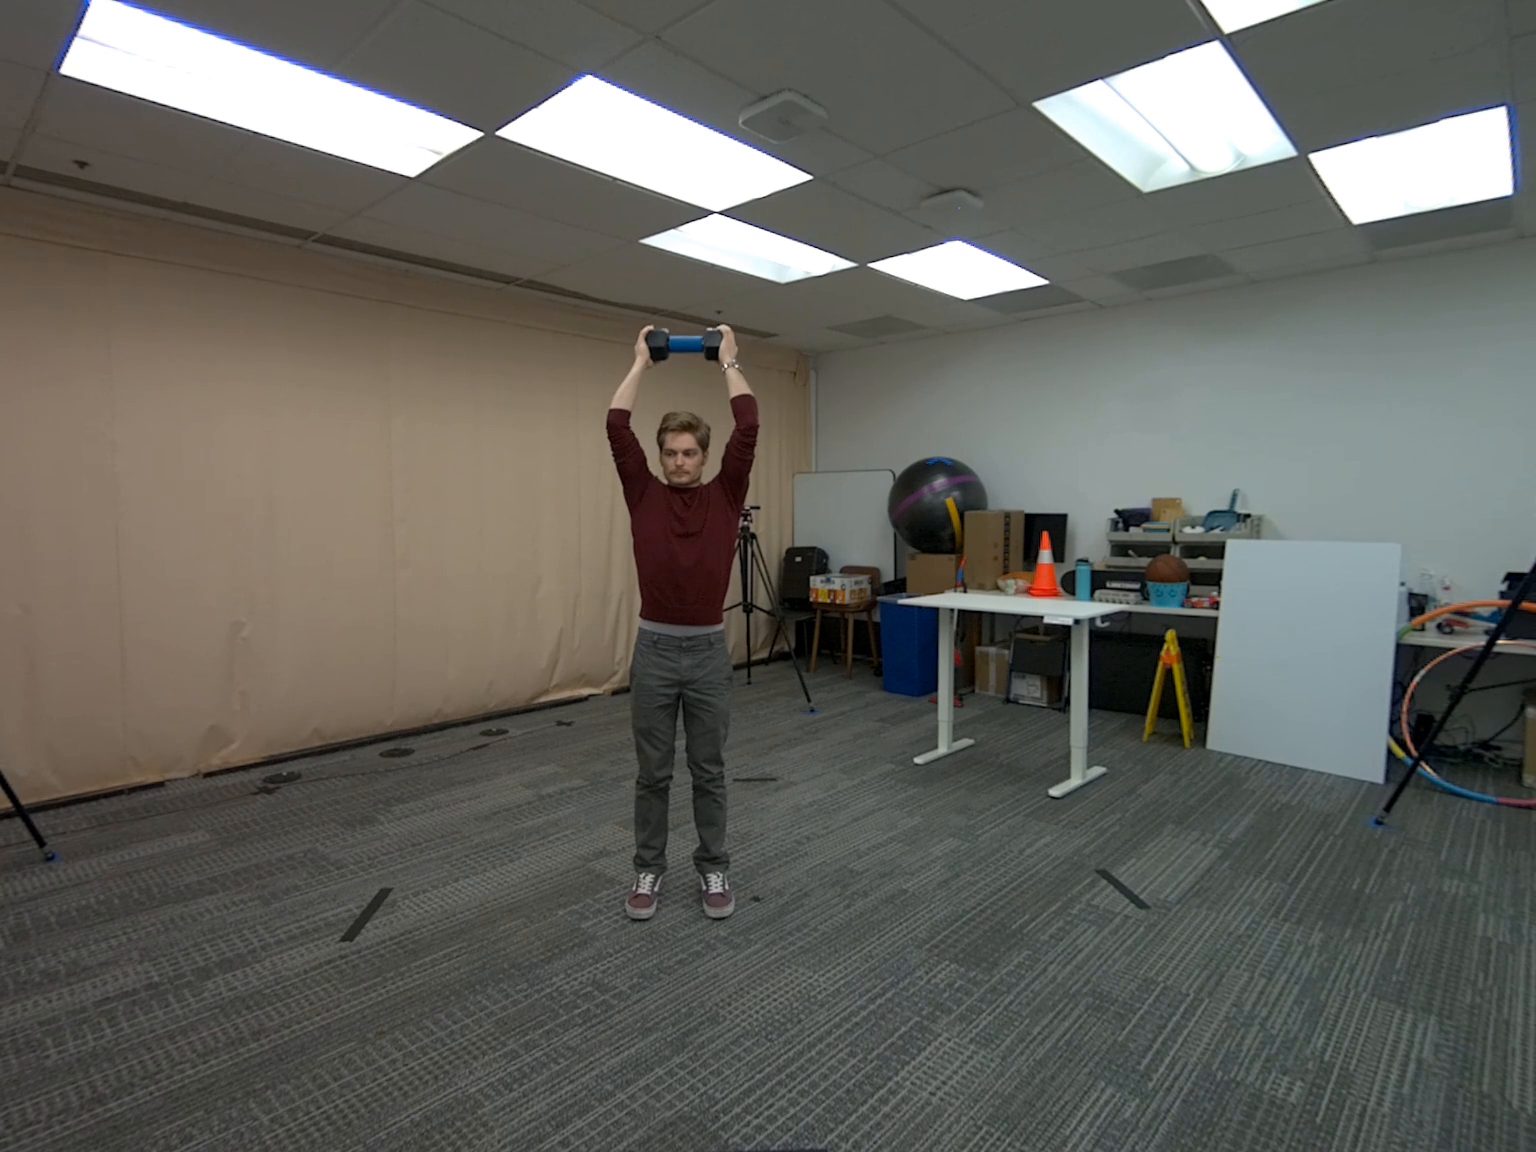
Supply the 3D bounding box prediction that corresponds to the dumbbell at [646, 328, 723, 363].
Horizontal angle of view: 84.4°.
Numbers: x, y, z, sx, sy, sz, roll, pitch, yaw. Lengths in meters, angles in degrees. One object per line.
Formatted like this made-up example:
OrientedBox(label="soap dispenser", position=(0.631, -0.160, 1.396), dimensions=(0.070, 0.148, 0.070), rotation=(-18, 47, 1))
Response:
OrientedBox(label="dumbbell", position=(-0.293, -0.822, 3.009), dimensions=(0.295, 0.110, 0.120), rotation=(1, -38, 6))
